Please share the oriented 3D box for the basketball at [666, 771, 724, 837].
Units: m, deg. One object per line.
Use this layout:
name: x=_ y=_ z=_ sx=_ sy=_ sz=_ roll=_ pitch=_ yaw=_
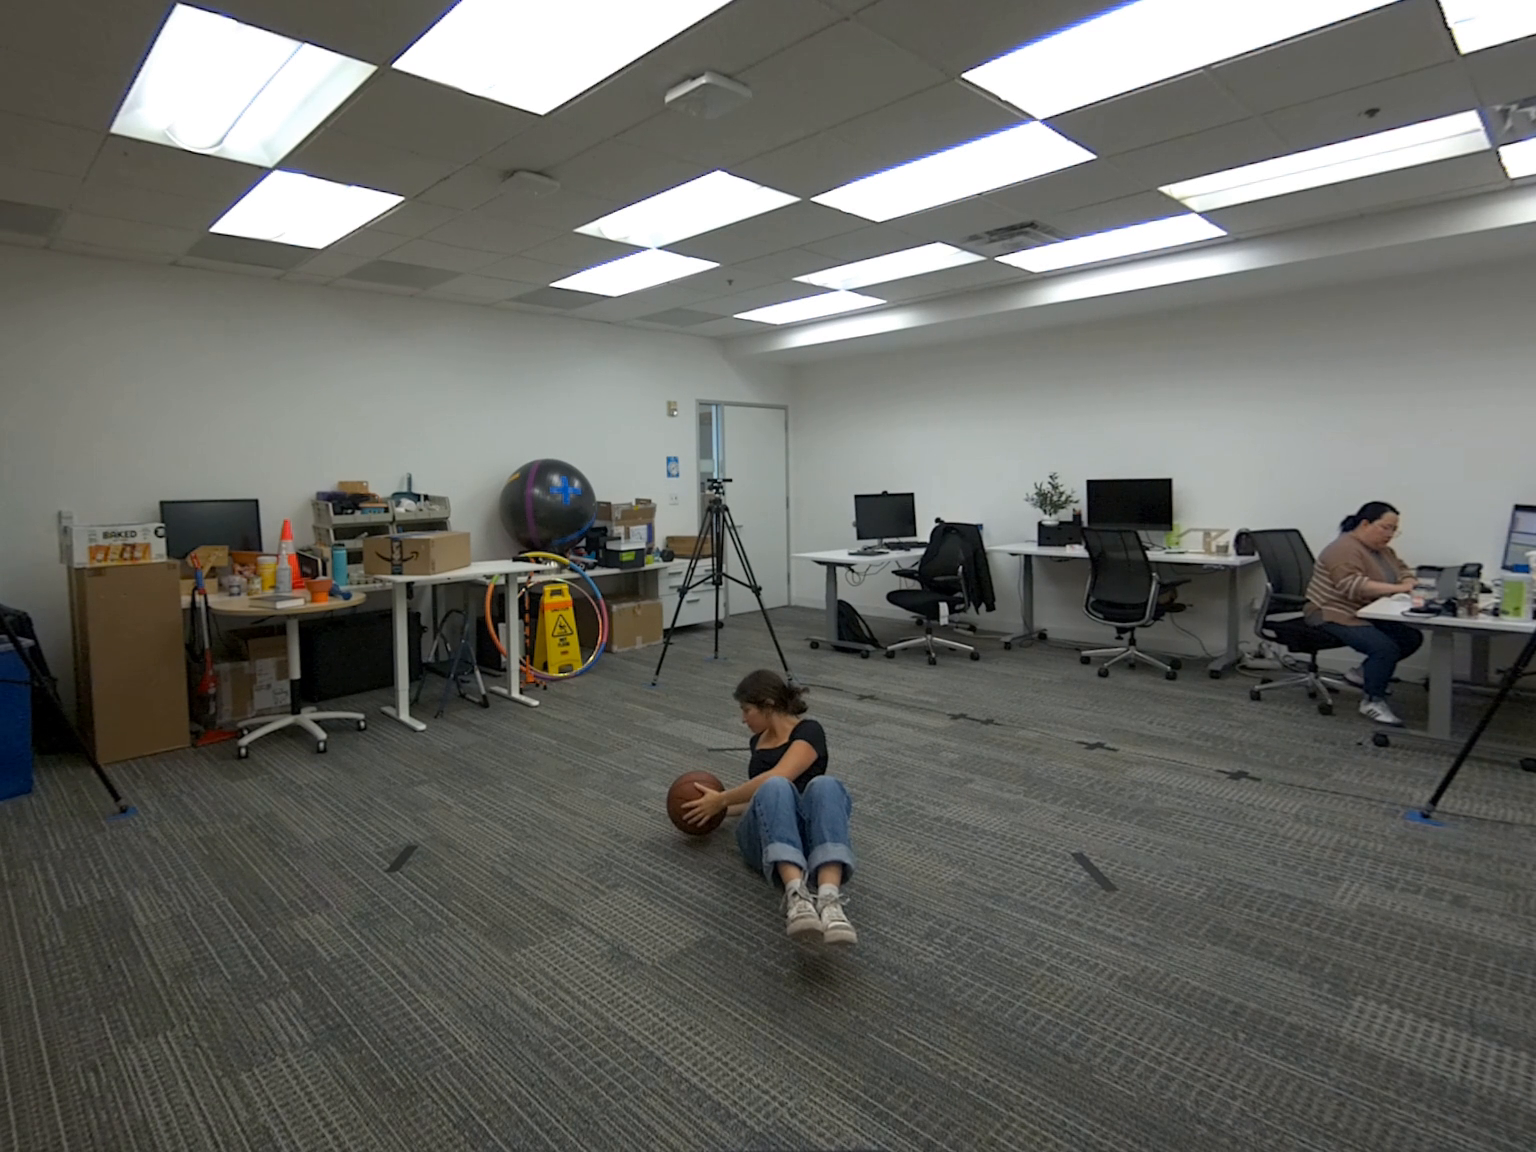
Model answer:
basketball: x=-0.268 y=0.865 z=3.288 sx=0.236 sy=0.235 sz=0.237 roll=-1 pitch=5 yaw=-2
